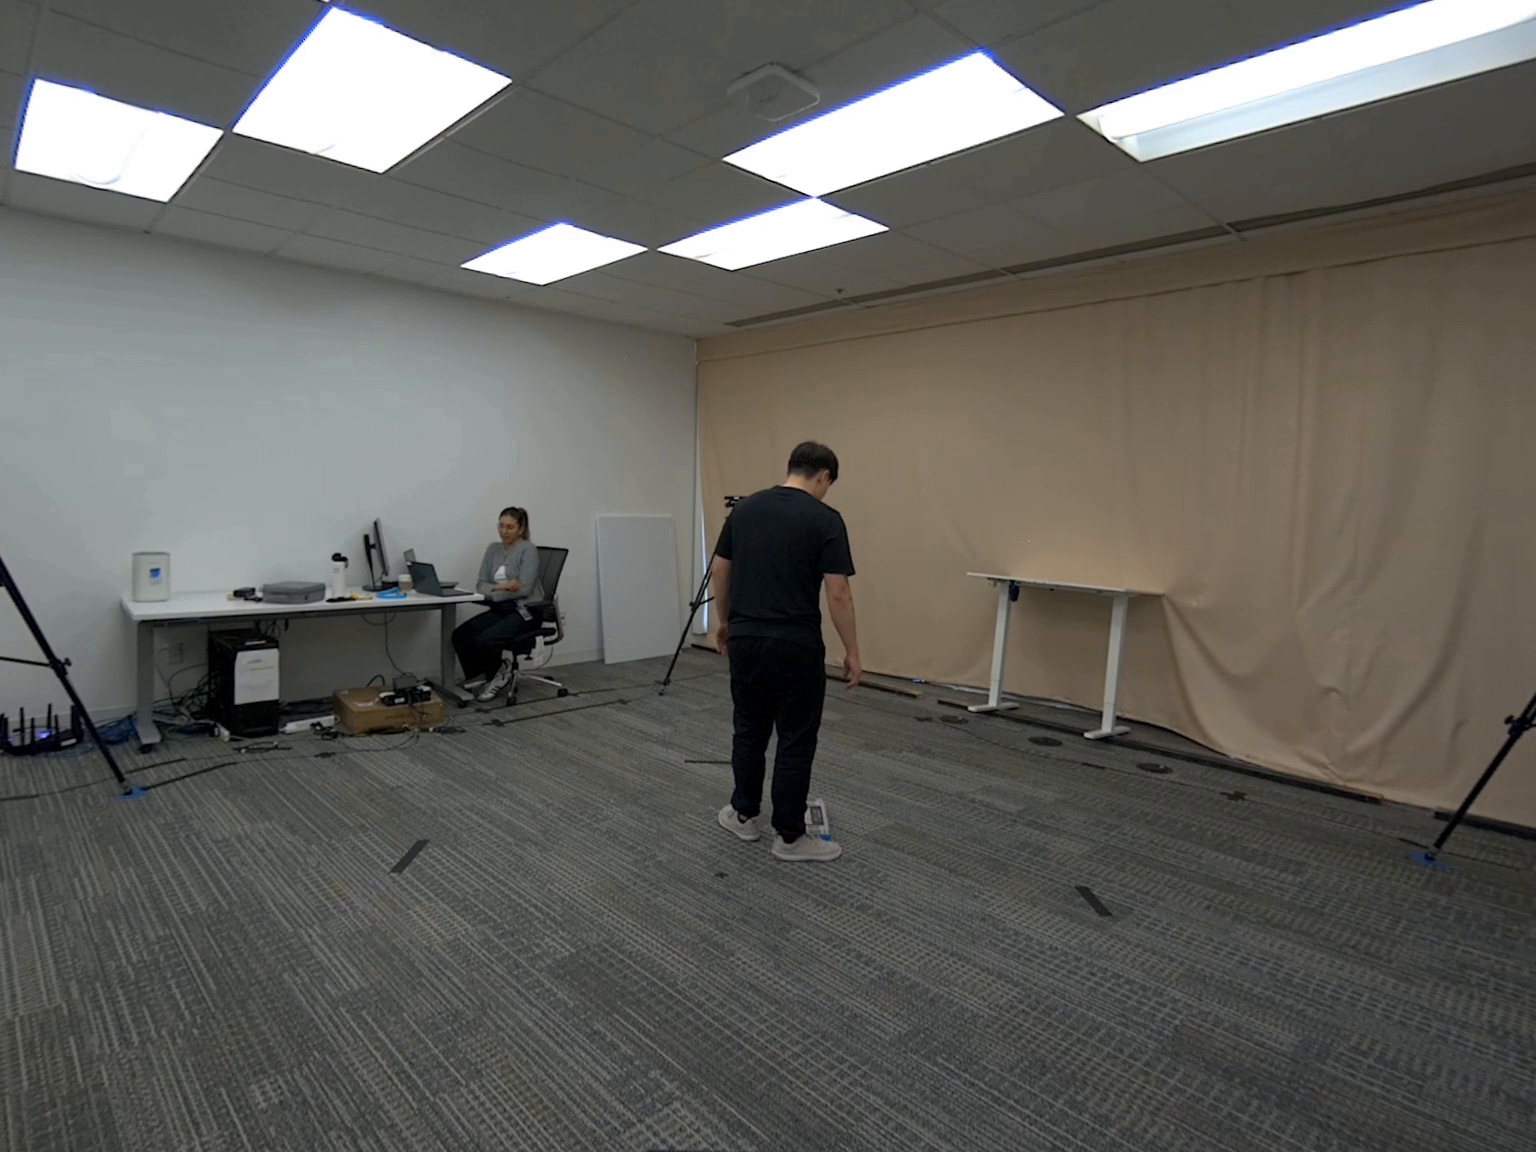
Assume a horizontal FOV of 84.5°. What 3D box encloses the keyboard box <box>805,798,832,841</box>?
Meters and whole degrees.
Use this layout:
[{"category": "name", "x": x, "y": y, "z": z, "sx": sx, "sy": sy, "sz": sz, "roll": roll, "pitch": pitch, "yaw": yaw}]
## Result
[{"category": "keyboard box", "x": 0.153, "y": 1.042, "z": 3.573, "sx": 0.176, "sy": 0.059, "sz": 0.437, "roll": 0, "pitch": 5, "yaw": 0}]
